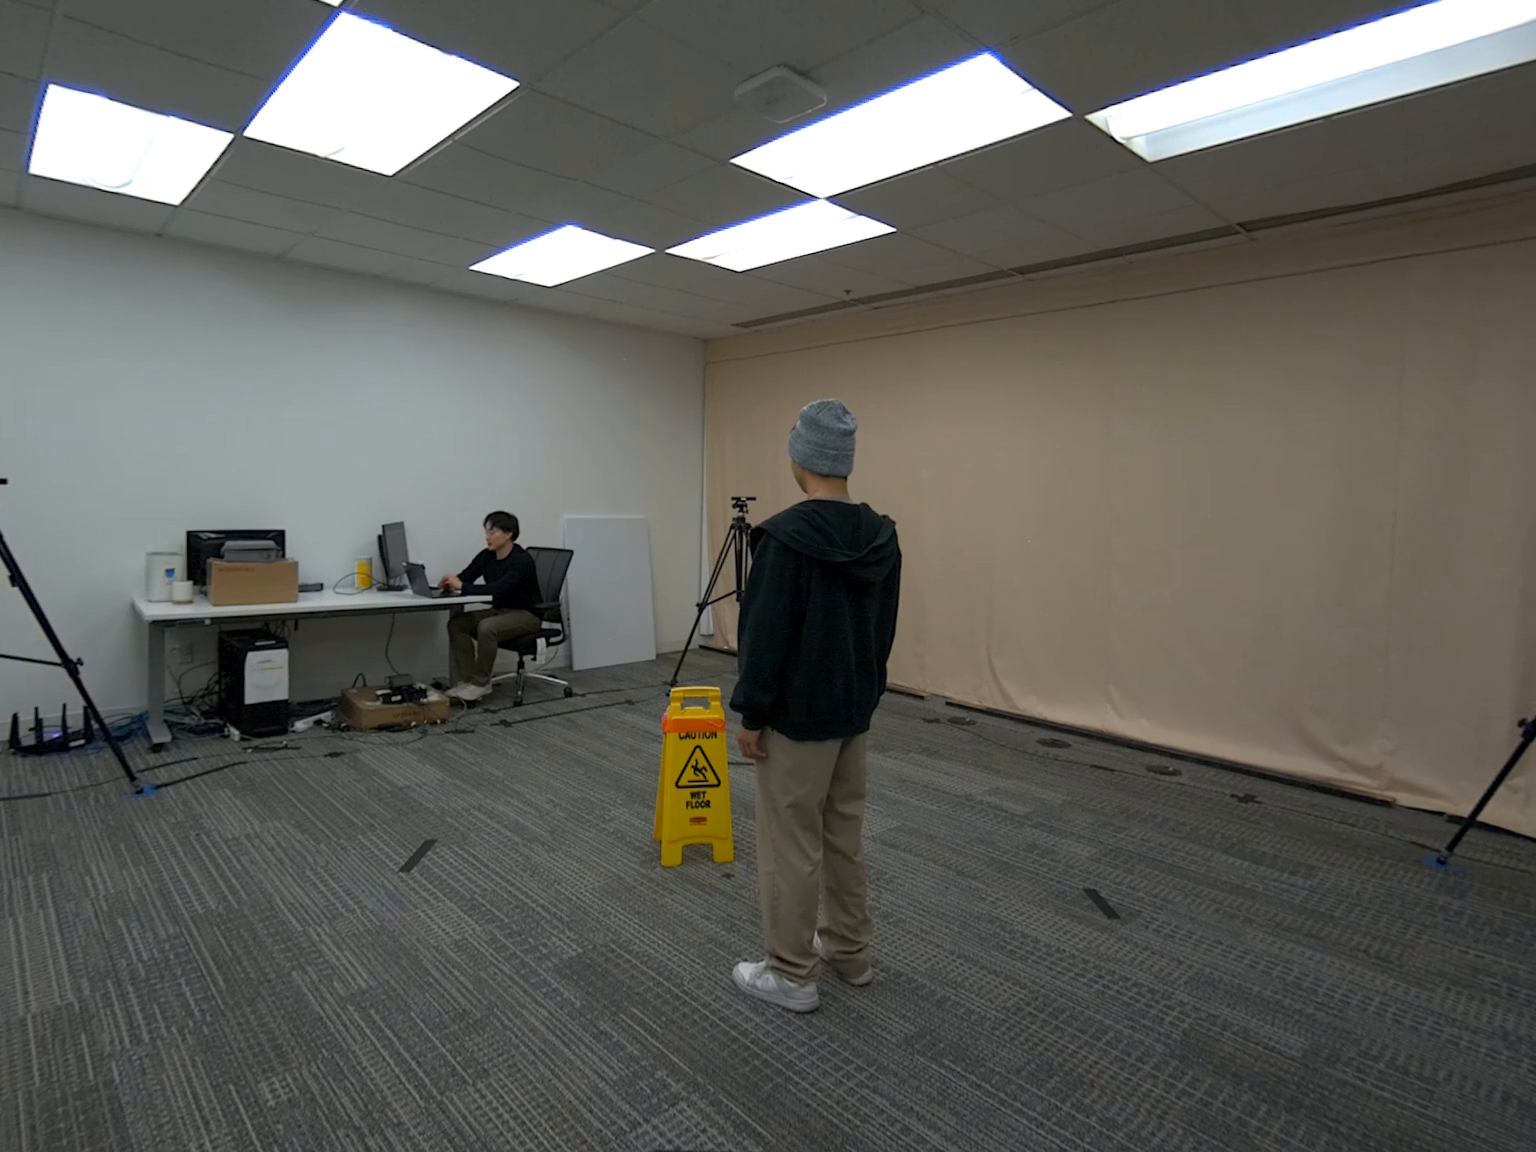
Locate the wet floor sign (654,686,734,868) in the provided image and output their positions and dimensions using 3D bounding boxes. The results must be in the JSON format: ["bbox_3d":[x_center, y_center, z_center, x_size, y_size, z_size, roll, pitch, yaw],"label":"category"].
[{"bbox_3d":[-0.300,0.756,3.305,0.279,0.645,0.293,2,3,-12],"label":"wet floor sign"}]
